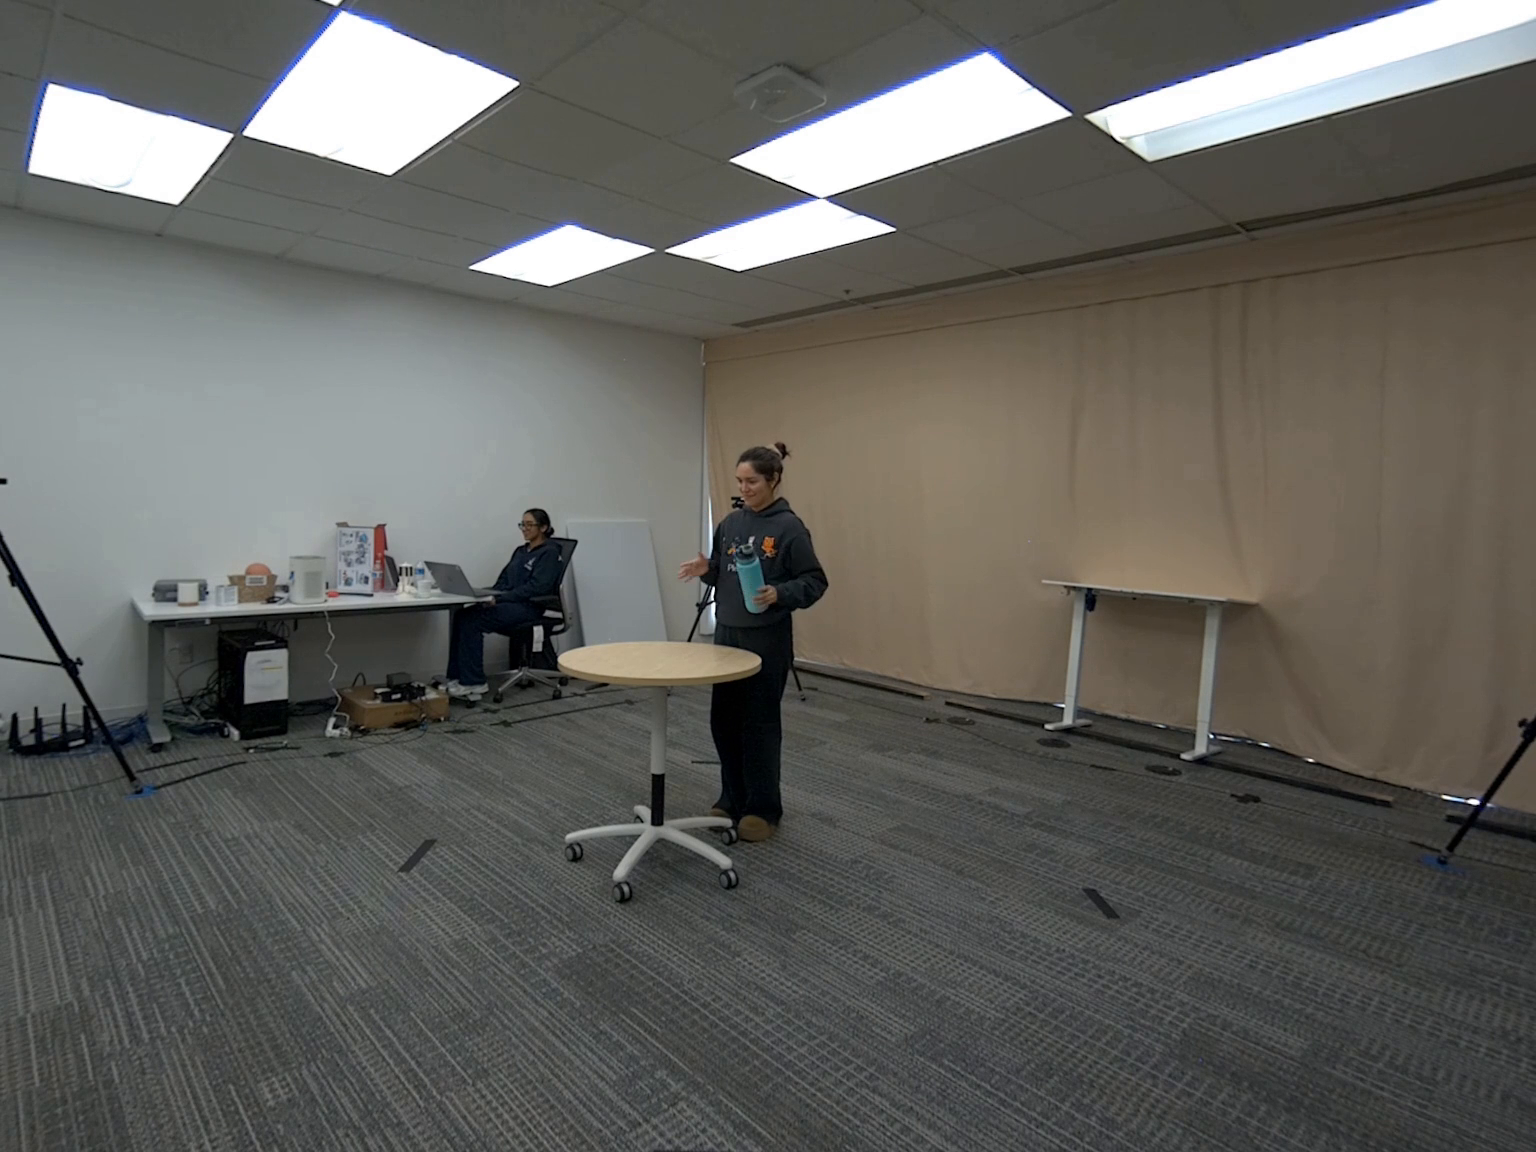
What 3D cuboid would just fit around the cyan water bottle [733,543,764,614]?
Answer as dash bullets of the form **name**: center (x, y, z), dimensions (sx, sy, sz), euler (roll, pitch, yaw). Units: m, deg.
- **cyan water bottle**: center (-0.092, -0.014, 3.253), dimensions (0.092, 0.277, 0.094), euler (-9, 32, 4)
